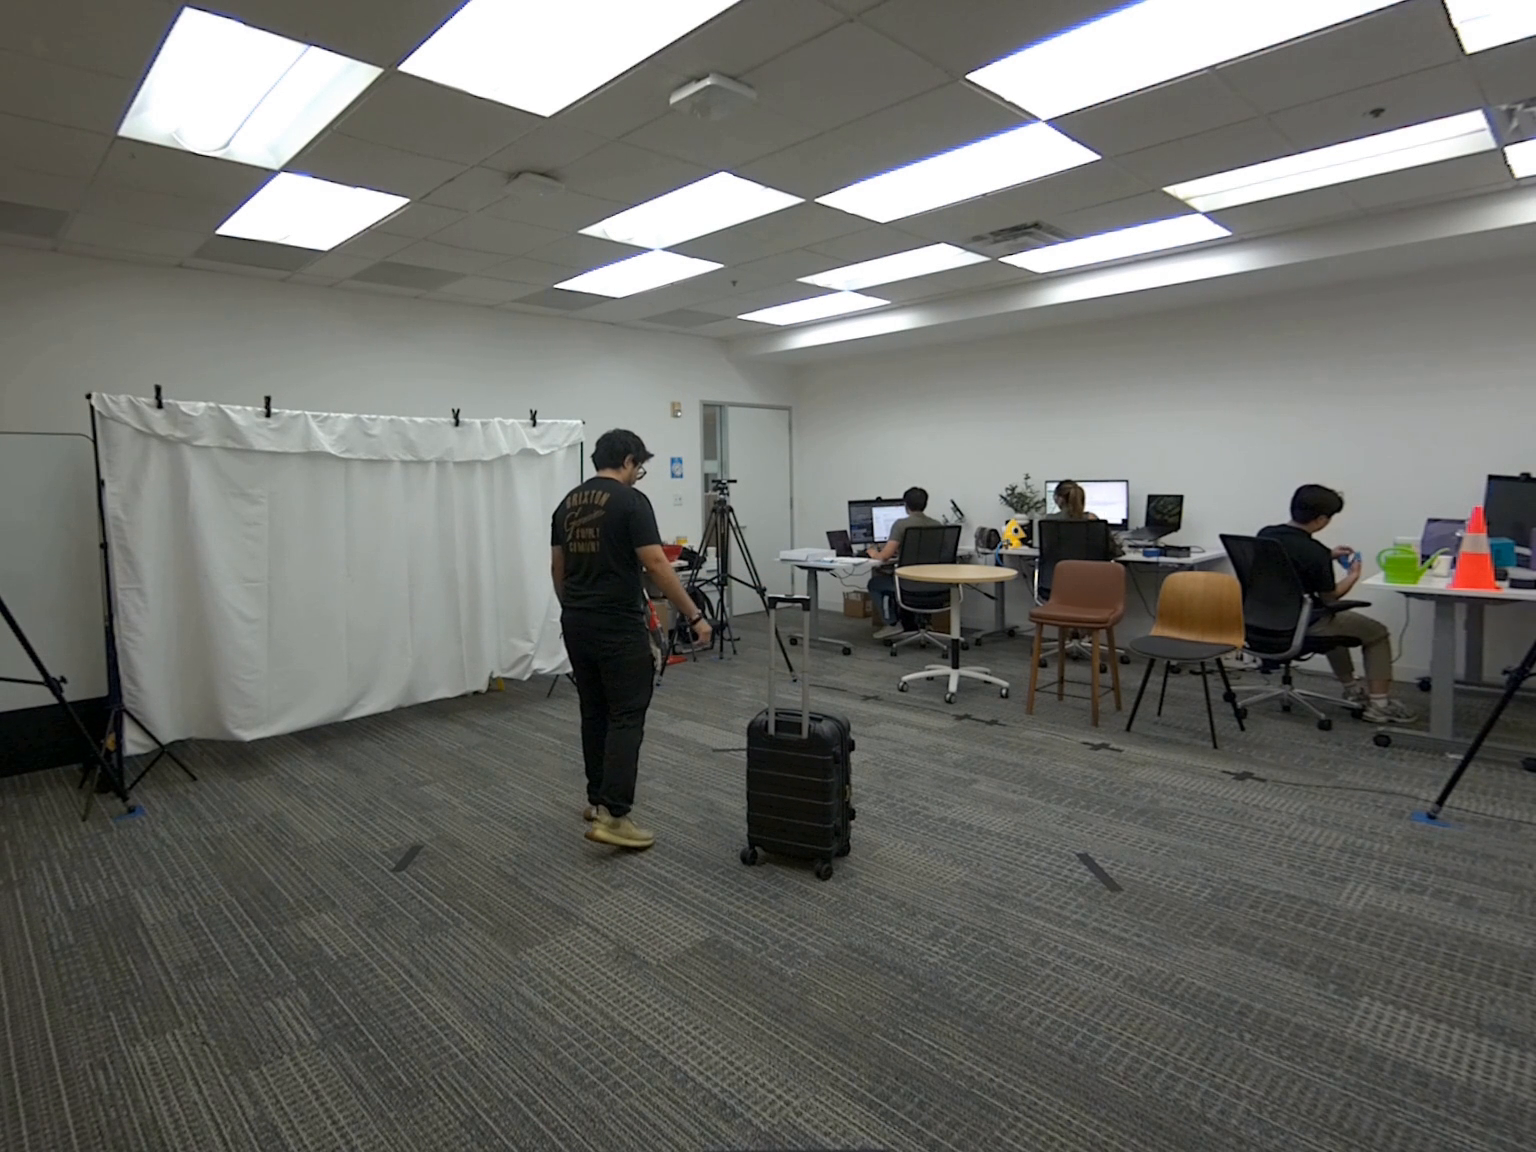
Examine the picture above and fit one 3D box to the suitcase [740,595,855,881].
[{"bbox_3d":[0.115,0.568,3.143,0.392,0.978,0.251,1,0,24],"label":"suitcase"}]
